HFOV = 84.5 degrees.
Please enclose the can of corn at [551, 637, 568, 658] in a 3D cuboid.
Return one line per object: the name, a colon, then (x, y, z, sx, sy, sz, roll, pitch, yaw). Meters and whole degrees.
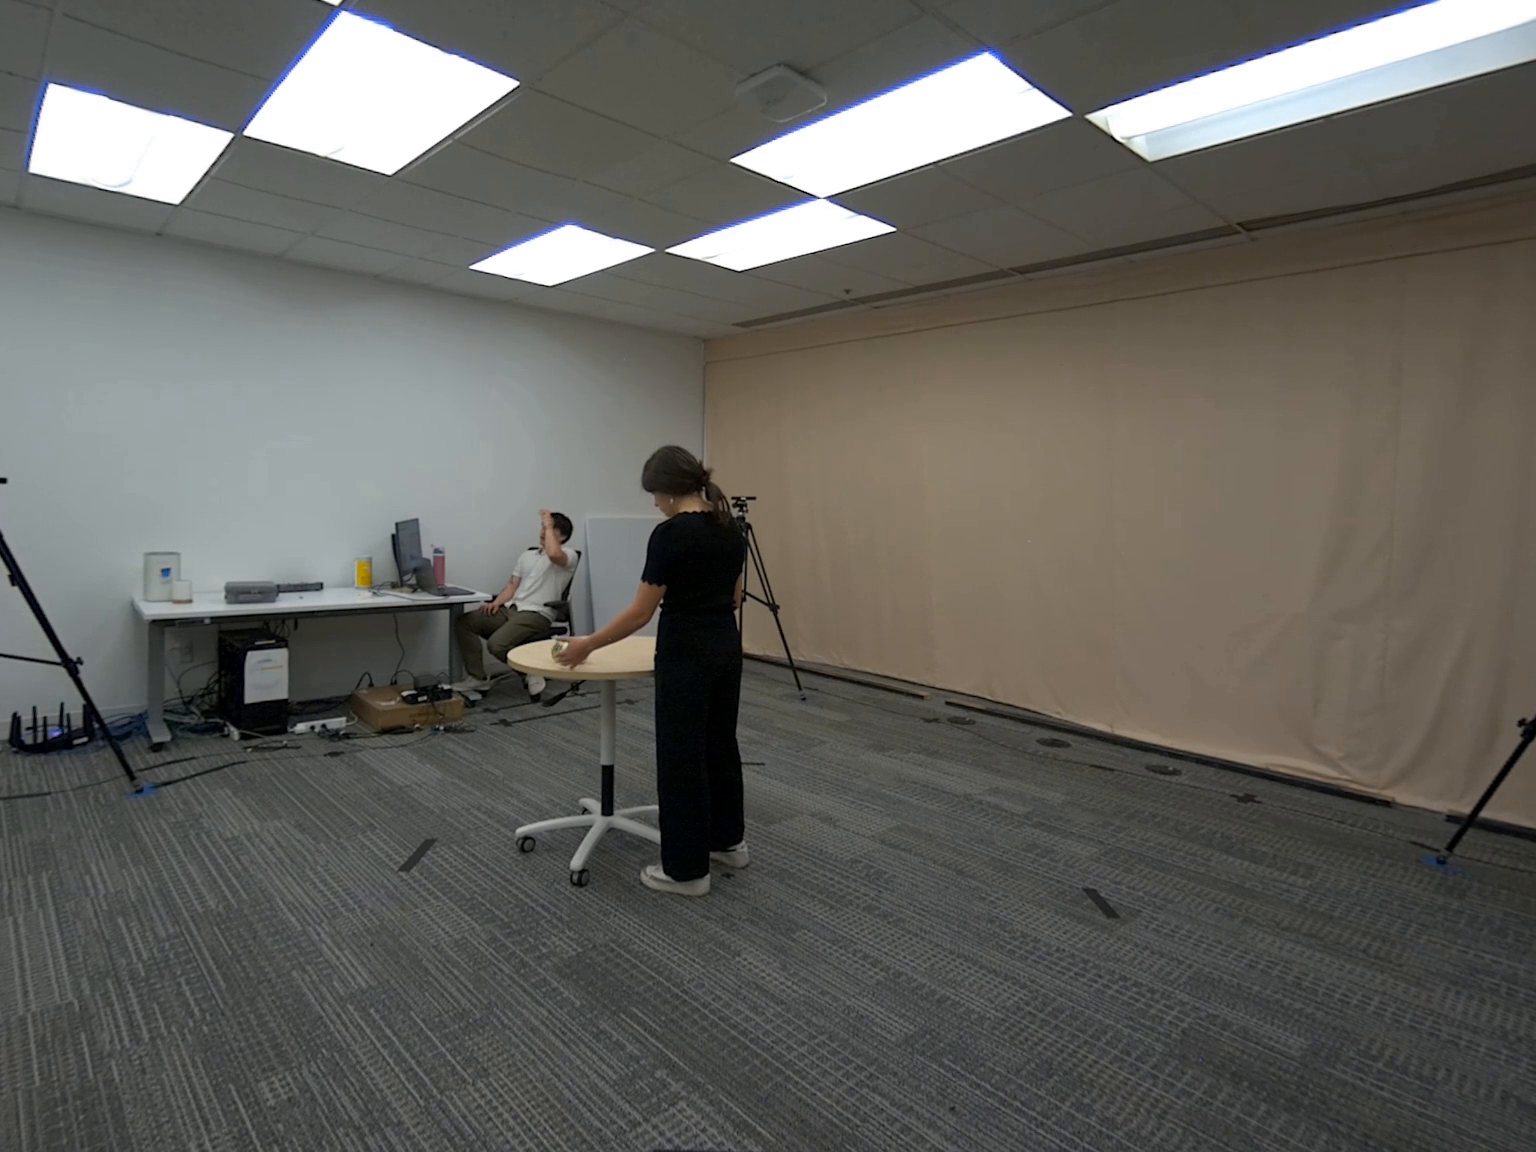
can of corn: (-0.716, 0.276, 3.053, 0.113, 0.074, 0.073, 2, 4, 19)
